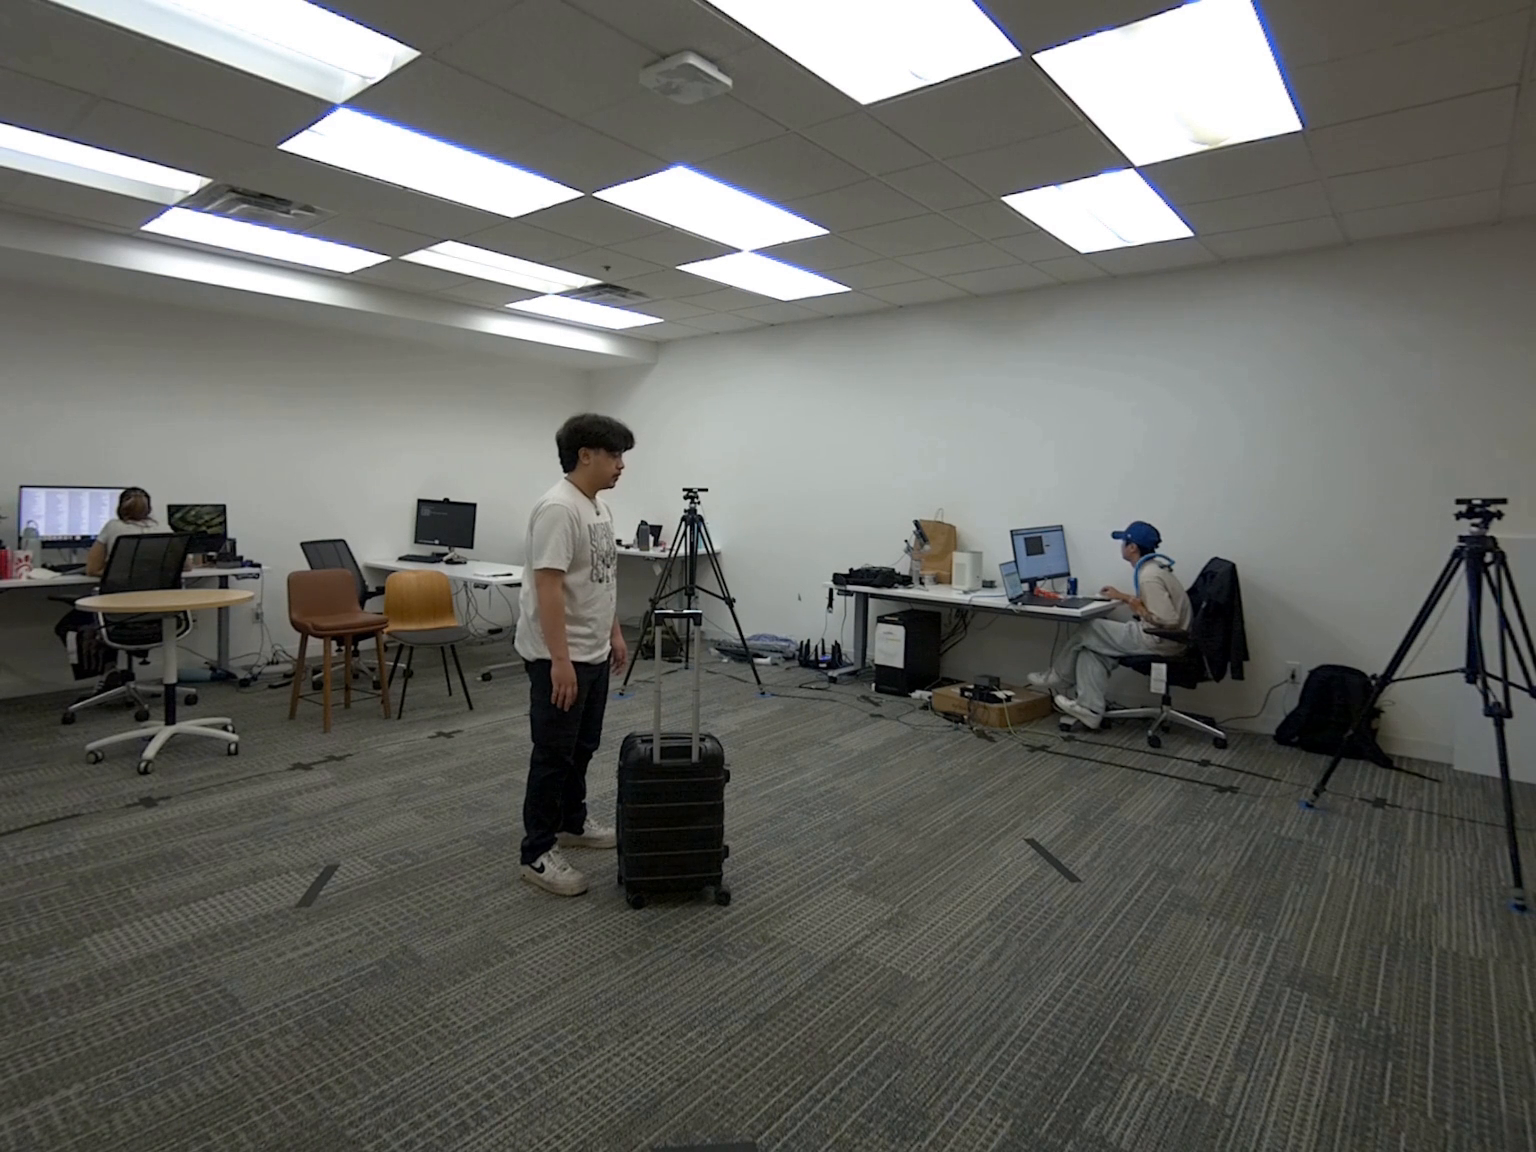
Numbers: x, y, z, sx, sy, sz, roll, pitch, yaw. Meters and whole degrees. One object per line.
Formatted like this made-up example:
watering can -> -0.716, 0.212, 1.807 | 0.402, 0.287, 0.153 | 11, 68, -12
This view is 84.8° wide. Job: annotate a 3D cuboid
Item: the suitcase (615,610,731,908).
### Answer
suitcase -> -0.338, 0.609, 2.912 | 0.380, 0.979, 0.260 | 1, 0, -10
